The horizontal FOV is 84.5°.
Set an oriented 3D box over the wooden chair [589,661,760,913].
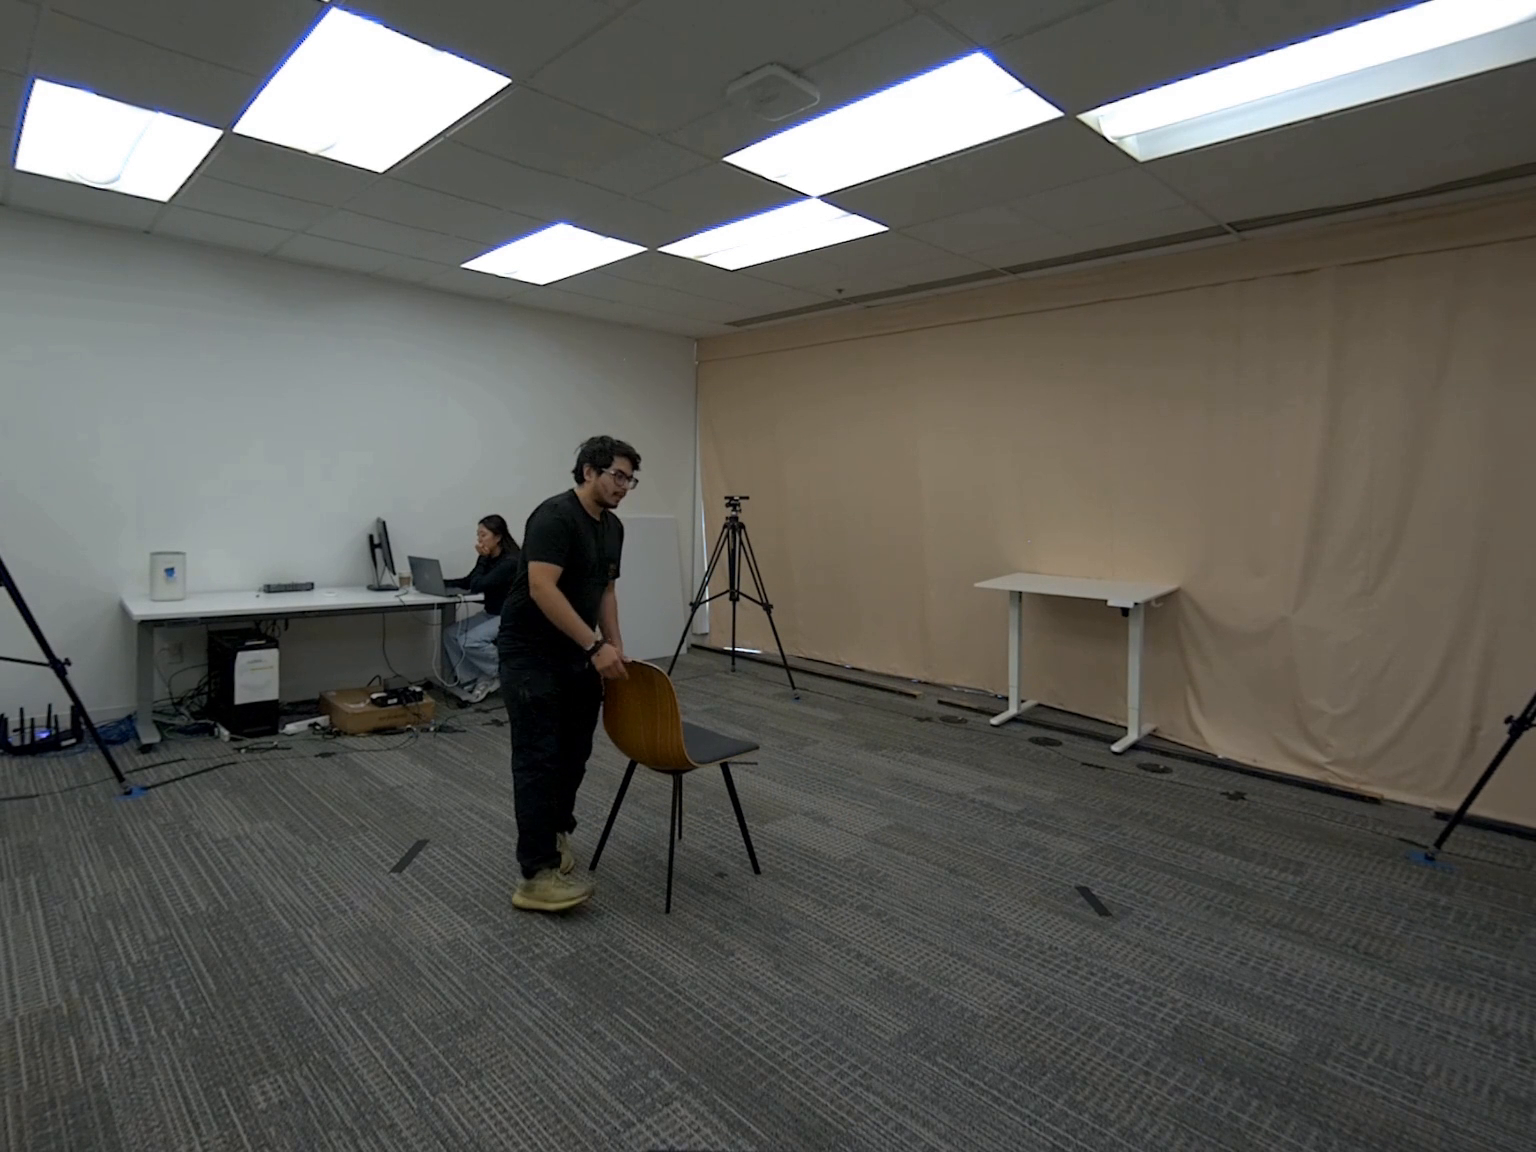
[{"bbox_3d":[-0.330,0.674,3.092,0.490,0.873,0.512,4,9,44],"label":"wooden chair"}]
